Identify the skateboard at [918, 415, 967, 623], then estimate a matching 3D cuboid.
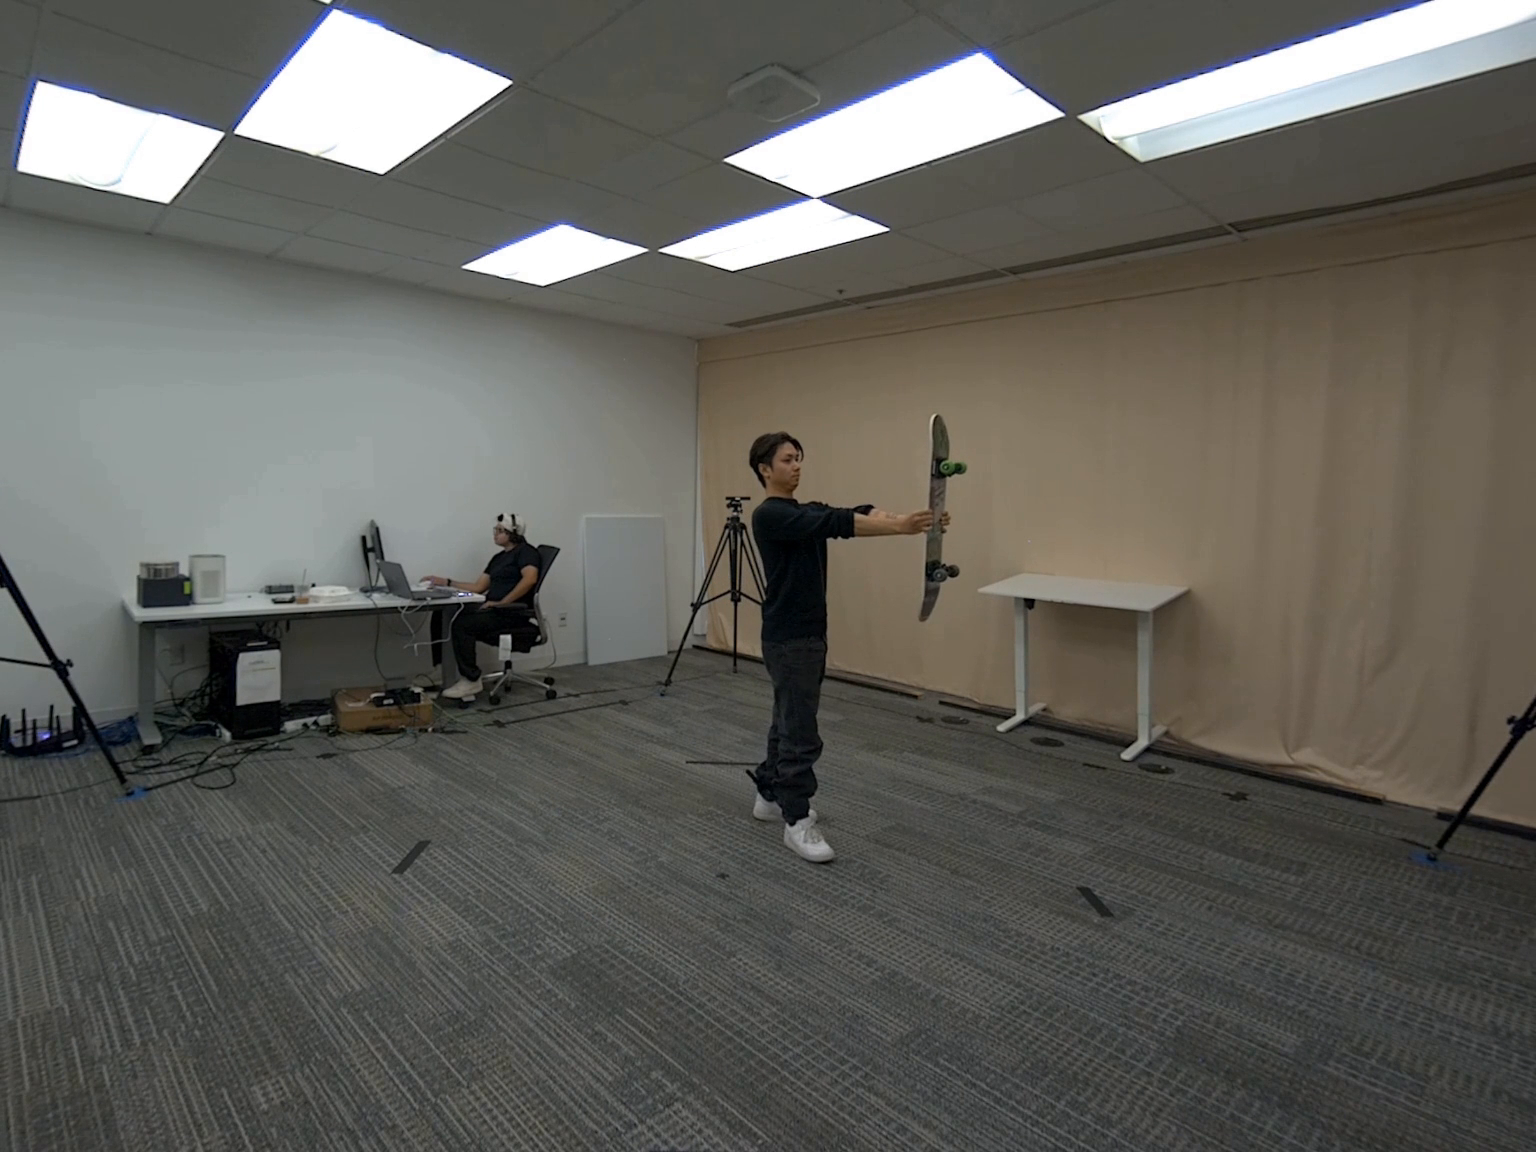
[{"bbox_3d":[0.650,-0.208,3.169,0.113,0.782,0.190,5,6,30],"label":"skateboard"}]
